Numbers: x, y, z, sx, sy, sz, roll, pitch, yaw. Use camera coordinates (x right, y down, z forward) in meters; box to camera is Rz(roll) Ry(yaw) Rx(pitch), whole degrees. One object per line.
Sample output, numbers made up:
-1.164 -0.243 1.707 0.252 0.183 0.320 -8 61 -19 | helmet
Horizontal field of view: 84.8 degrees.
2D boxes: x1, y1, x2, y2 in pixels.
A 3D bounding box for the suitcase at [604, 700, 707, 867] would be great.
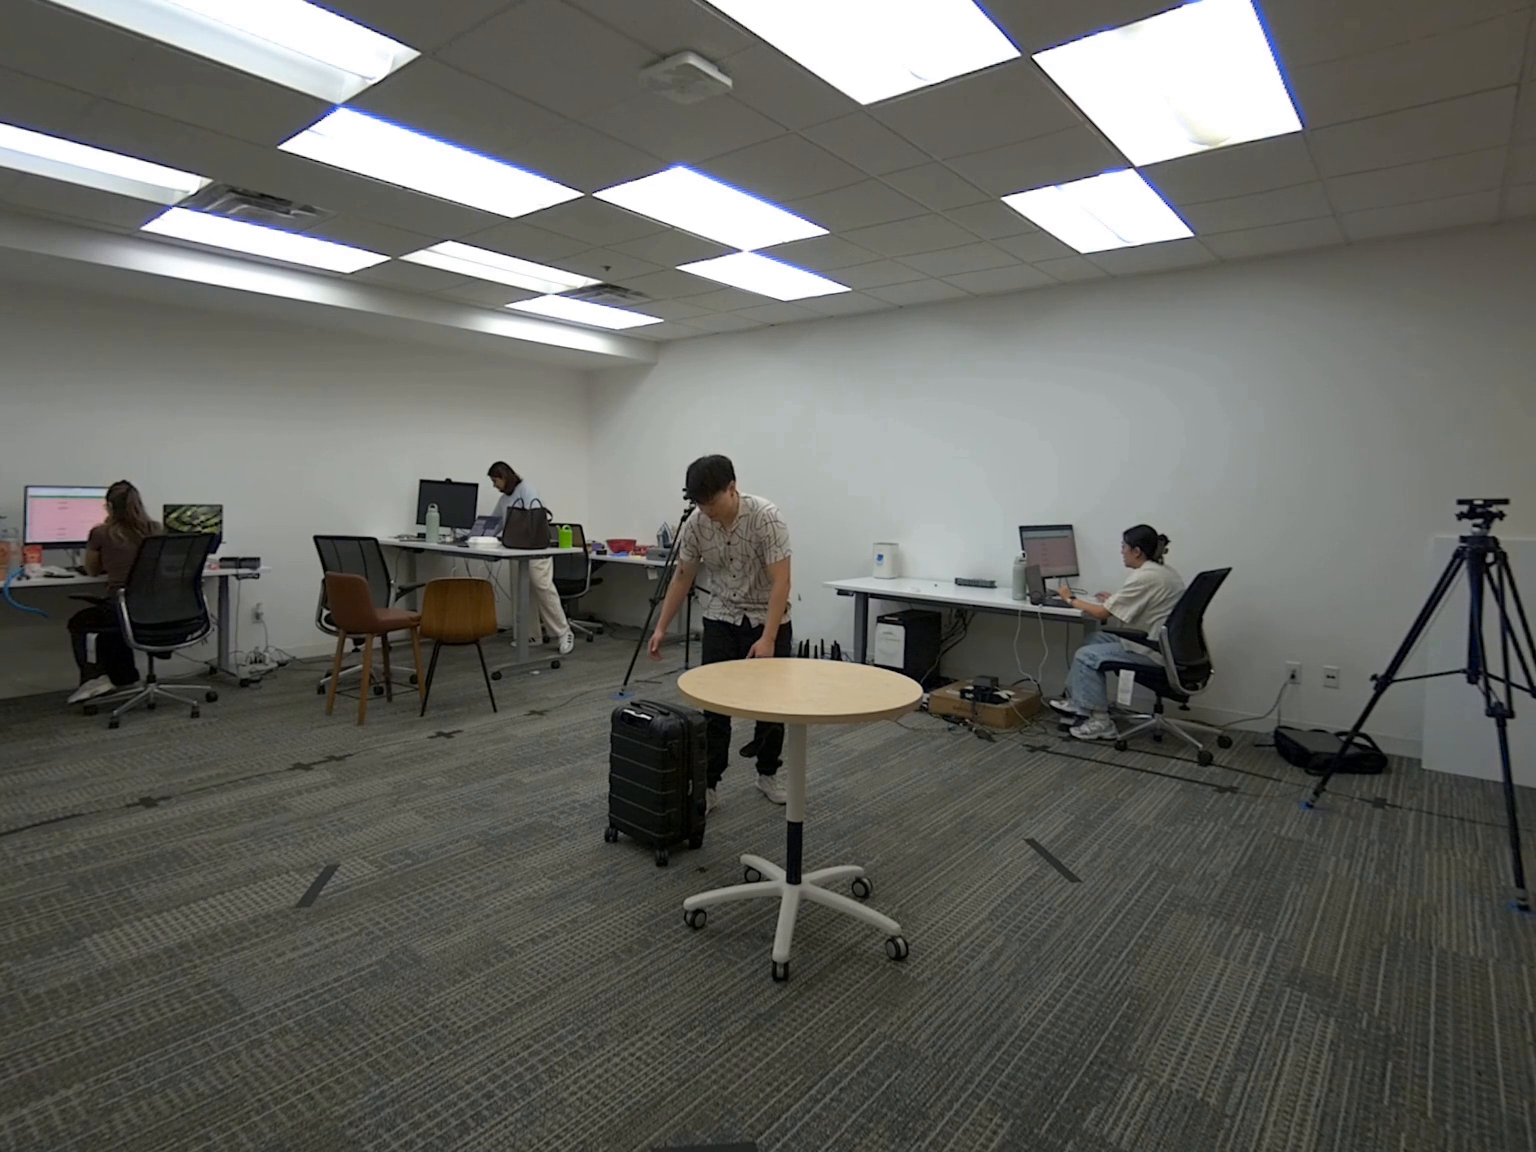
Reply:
-0.447 0.768 3.328 0.388 0.549 0.240 3 2 44 | suitcase
